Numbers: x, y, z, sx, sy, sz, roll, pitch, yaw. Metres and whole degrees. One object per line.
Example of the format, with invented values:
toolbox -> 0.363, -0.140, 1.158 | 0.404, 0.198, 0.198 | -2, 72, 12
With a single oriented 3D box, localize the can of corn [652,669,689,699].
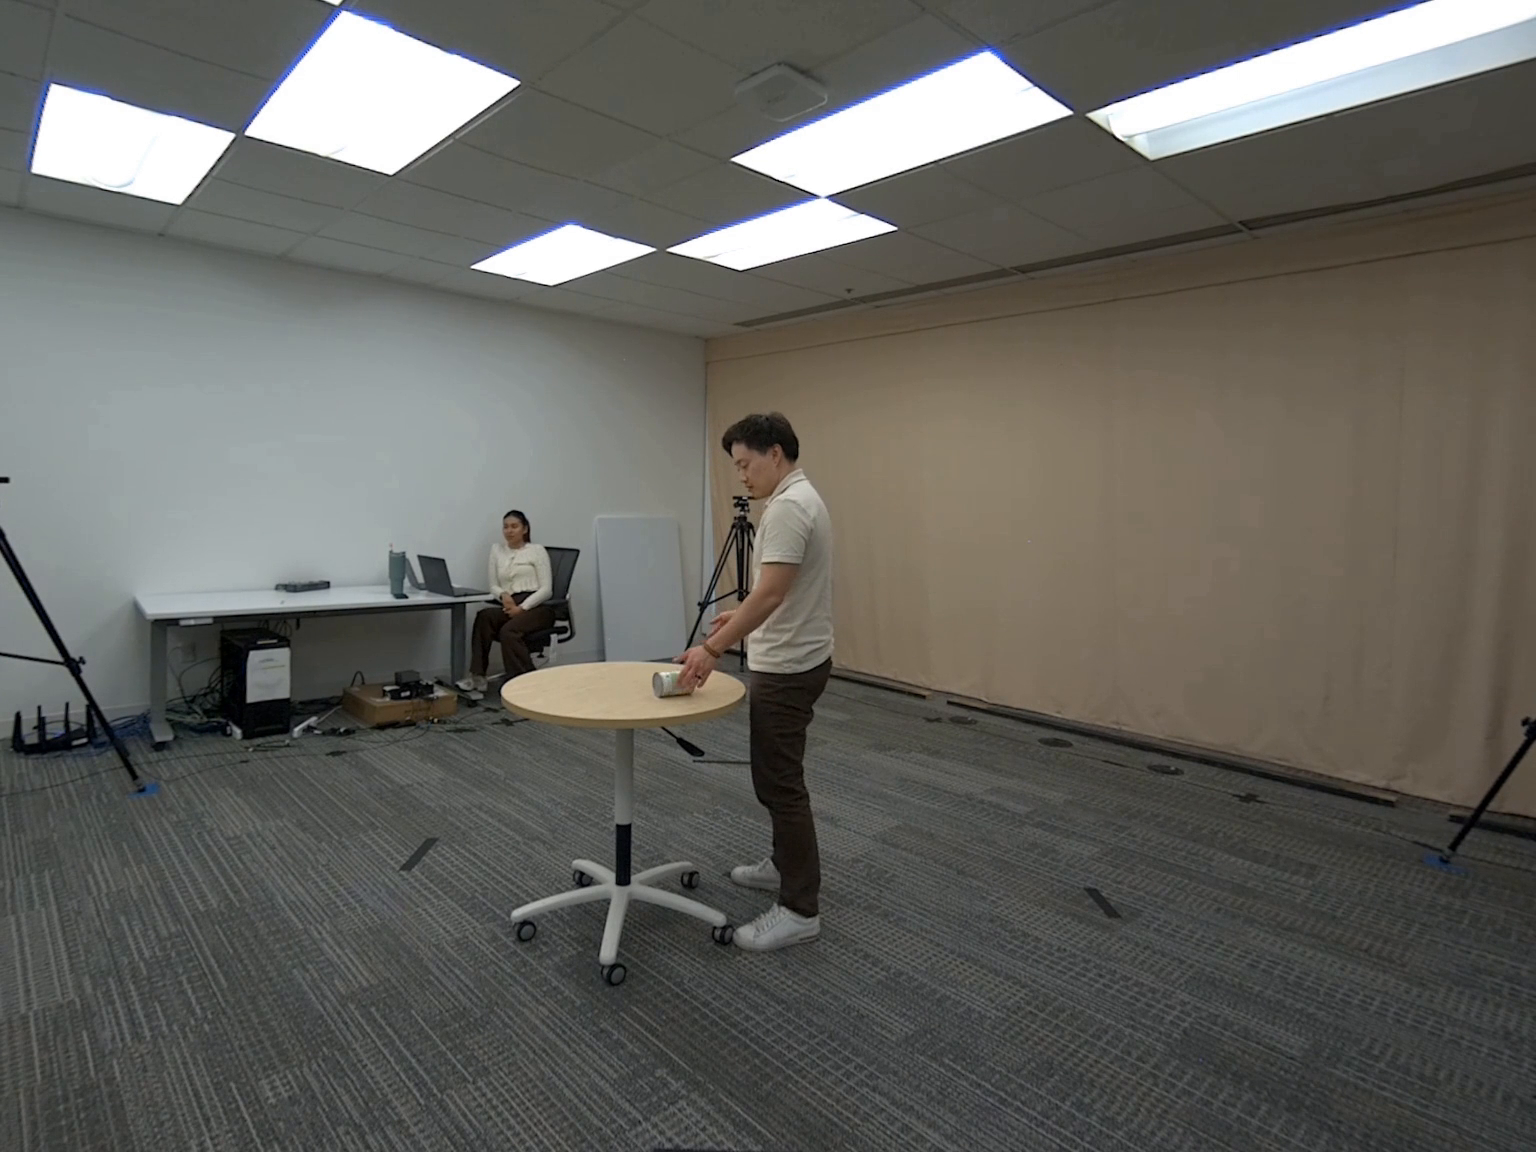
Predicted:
can of corn -> -0.293, 0.326, 2.578 | 0.109, 0.074, 0.075 | -1, 5, -22
